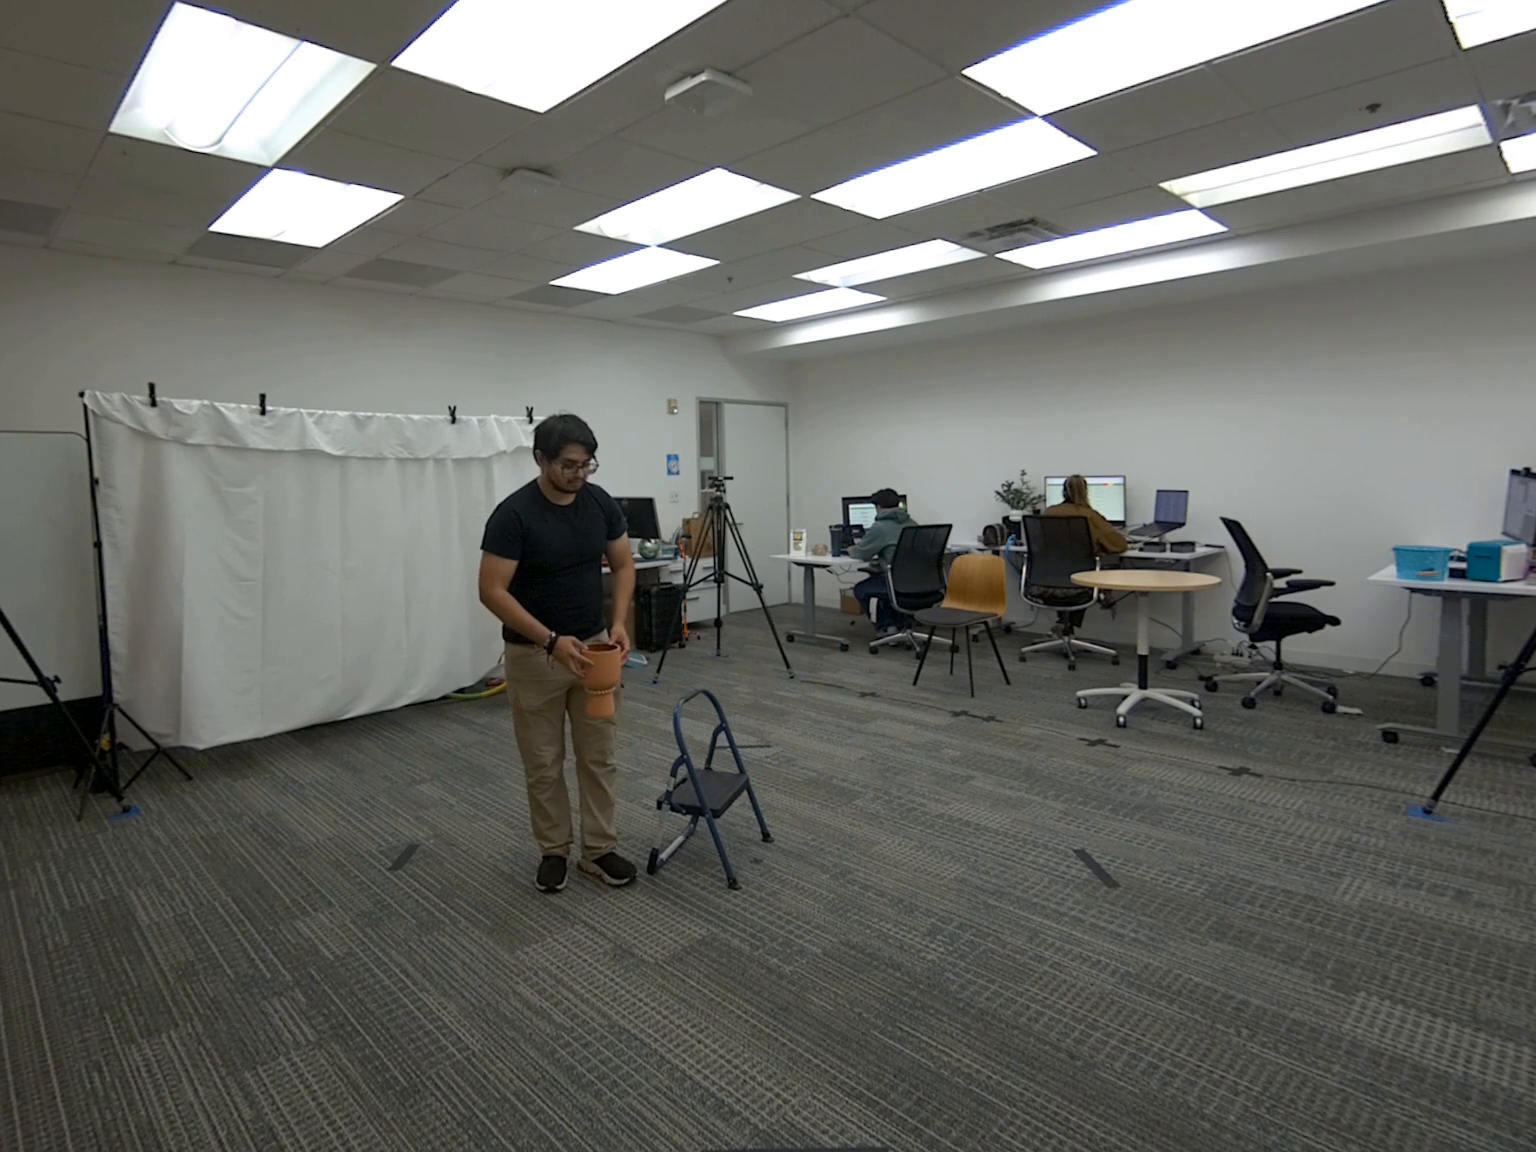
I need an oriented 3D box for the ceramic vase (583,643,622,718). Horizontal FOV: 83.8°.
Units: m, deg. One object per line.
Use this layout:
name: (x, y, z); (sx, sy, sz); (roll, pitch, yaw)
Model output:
ceramic vase: (-0.560, 0.341, 2.816); (0.158, 0.219, 0.136); (-3, 5, -8)
